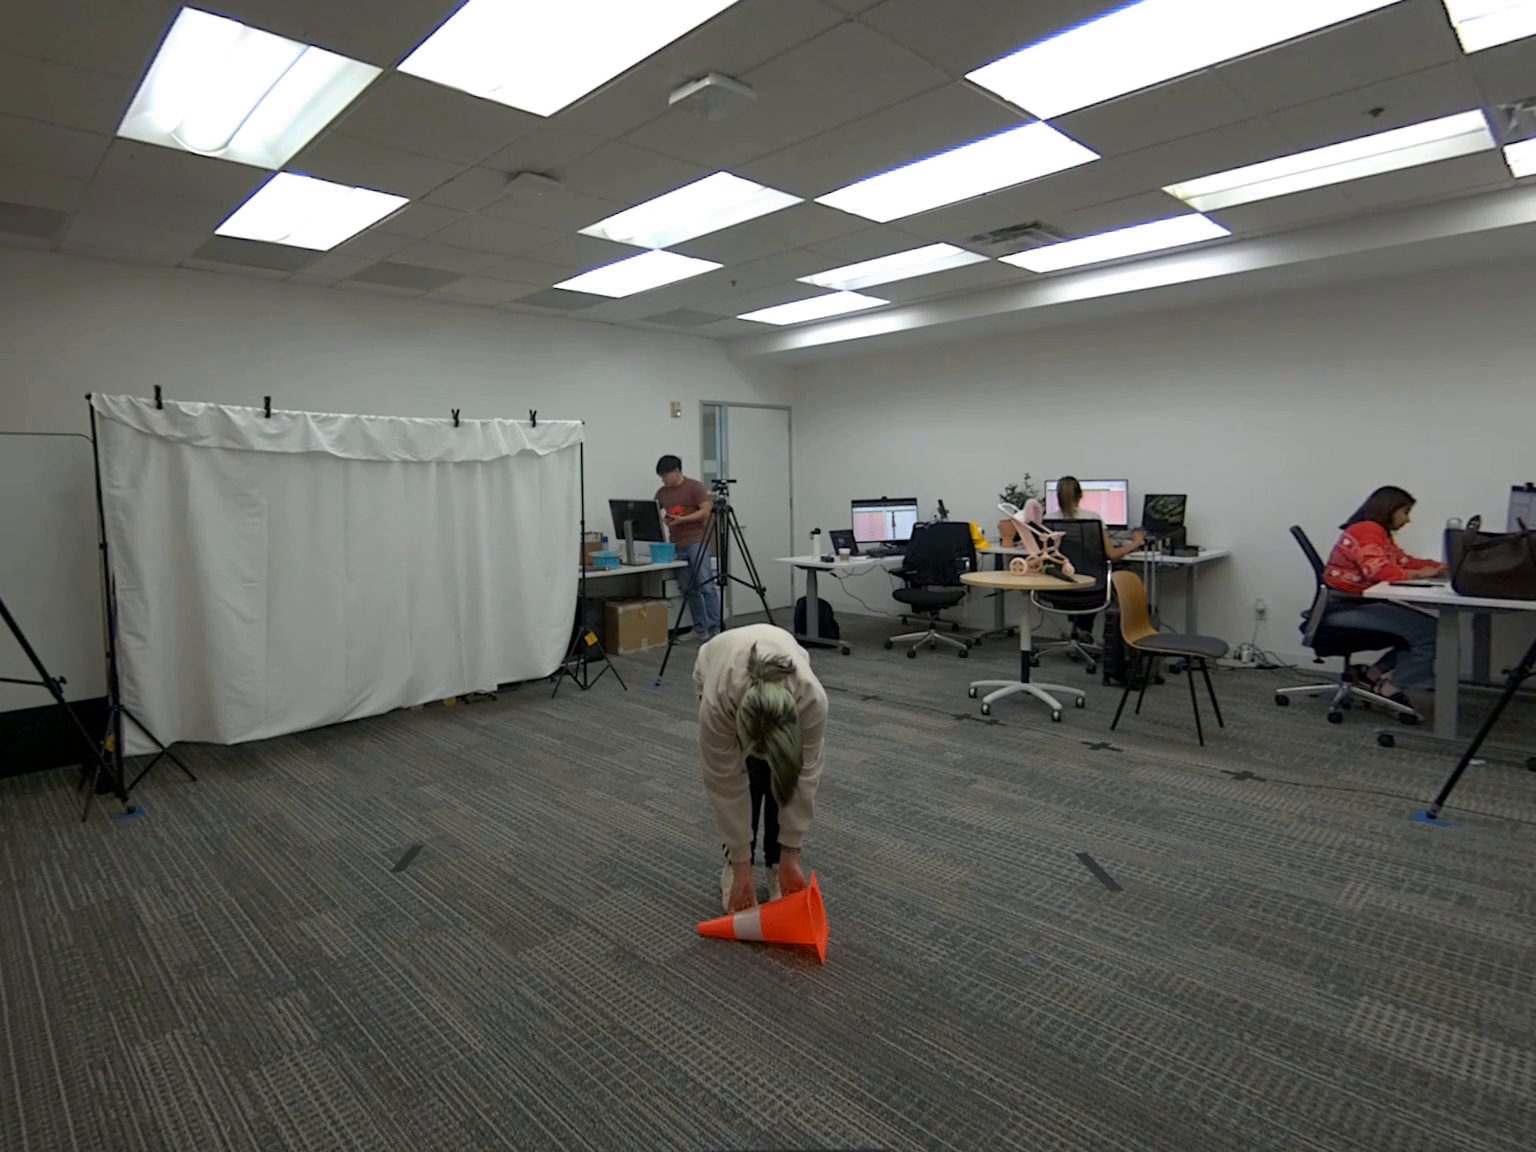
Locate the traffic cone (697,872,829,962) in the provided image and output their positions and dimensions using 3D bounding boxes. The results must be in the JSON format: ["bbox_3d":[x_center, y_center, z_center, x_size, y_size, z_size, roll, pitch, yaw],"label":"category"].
[{"bbox_3d":[-0.027,1.057,2.583,0.387,0.205,0.201,-14,0,12],"label":"traffic cone"}]
